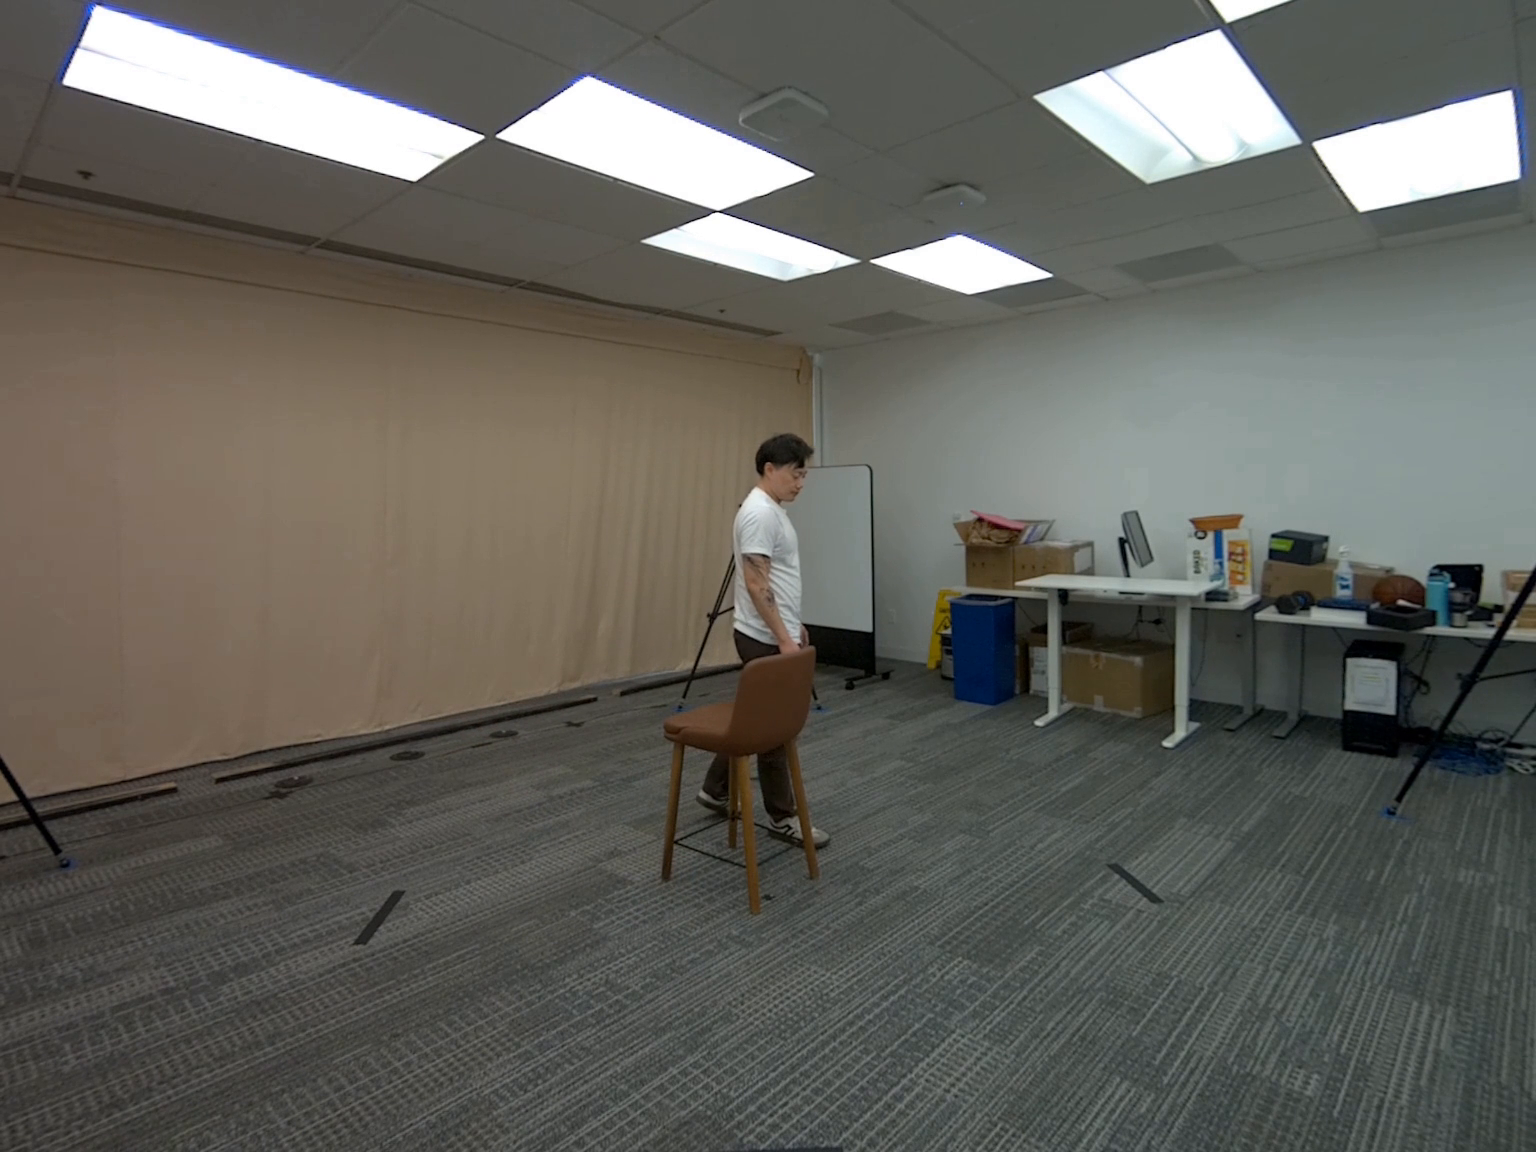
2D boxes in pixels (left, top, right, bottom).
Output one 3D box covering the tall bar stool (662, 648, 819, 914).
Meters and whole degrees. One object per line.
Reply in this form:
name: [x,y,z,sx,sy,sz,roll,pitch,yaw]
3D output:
tall bar stool: [-0.103,0.694,3.115,0.483,0.887,0.443,5,7,40]
